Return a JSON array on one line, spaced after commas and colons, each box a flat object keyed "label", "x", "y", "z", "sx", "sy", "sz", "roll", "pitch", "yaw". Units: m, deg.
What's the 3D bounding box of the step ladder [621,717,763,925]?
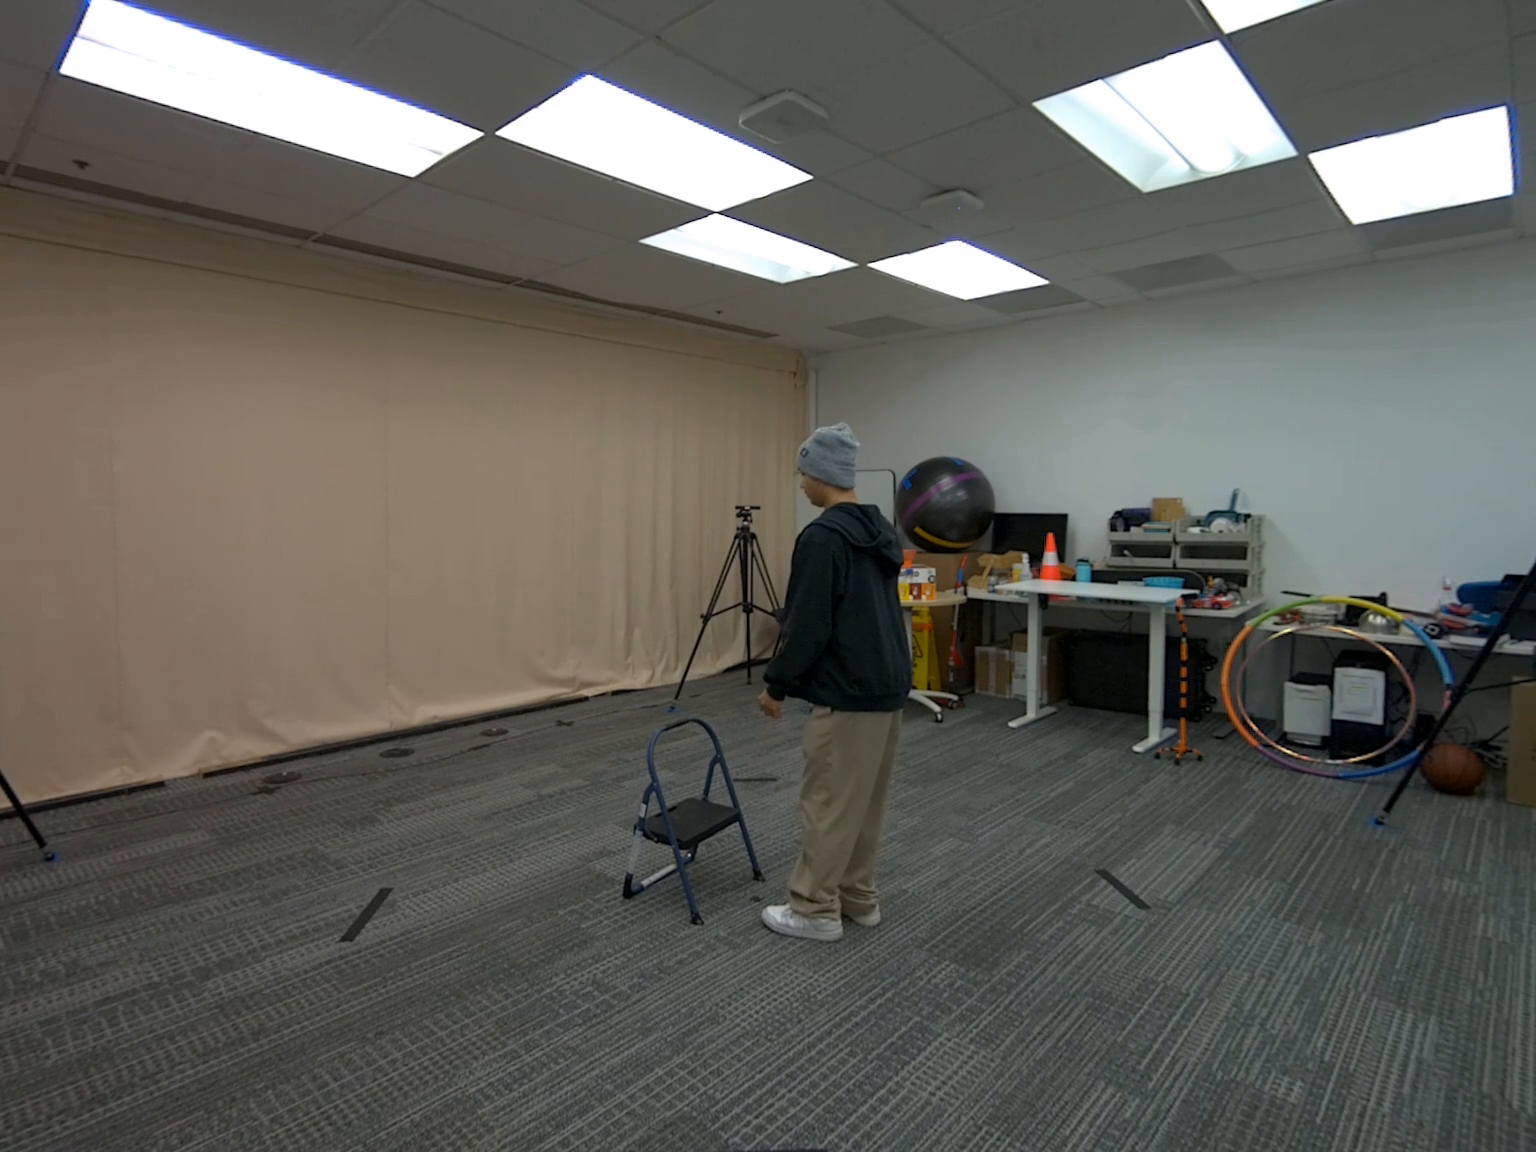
[{"label": "step ladder", "x": -0.268, "y": 0.837, "z": 3.055, "sx": 0.360, "sy": 0.605, "sz": 0.419, "roll": 2, "pitch": 4, "yaw": 33}]
